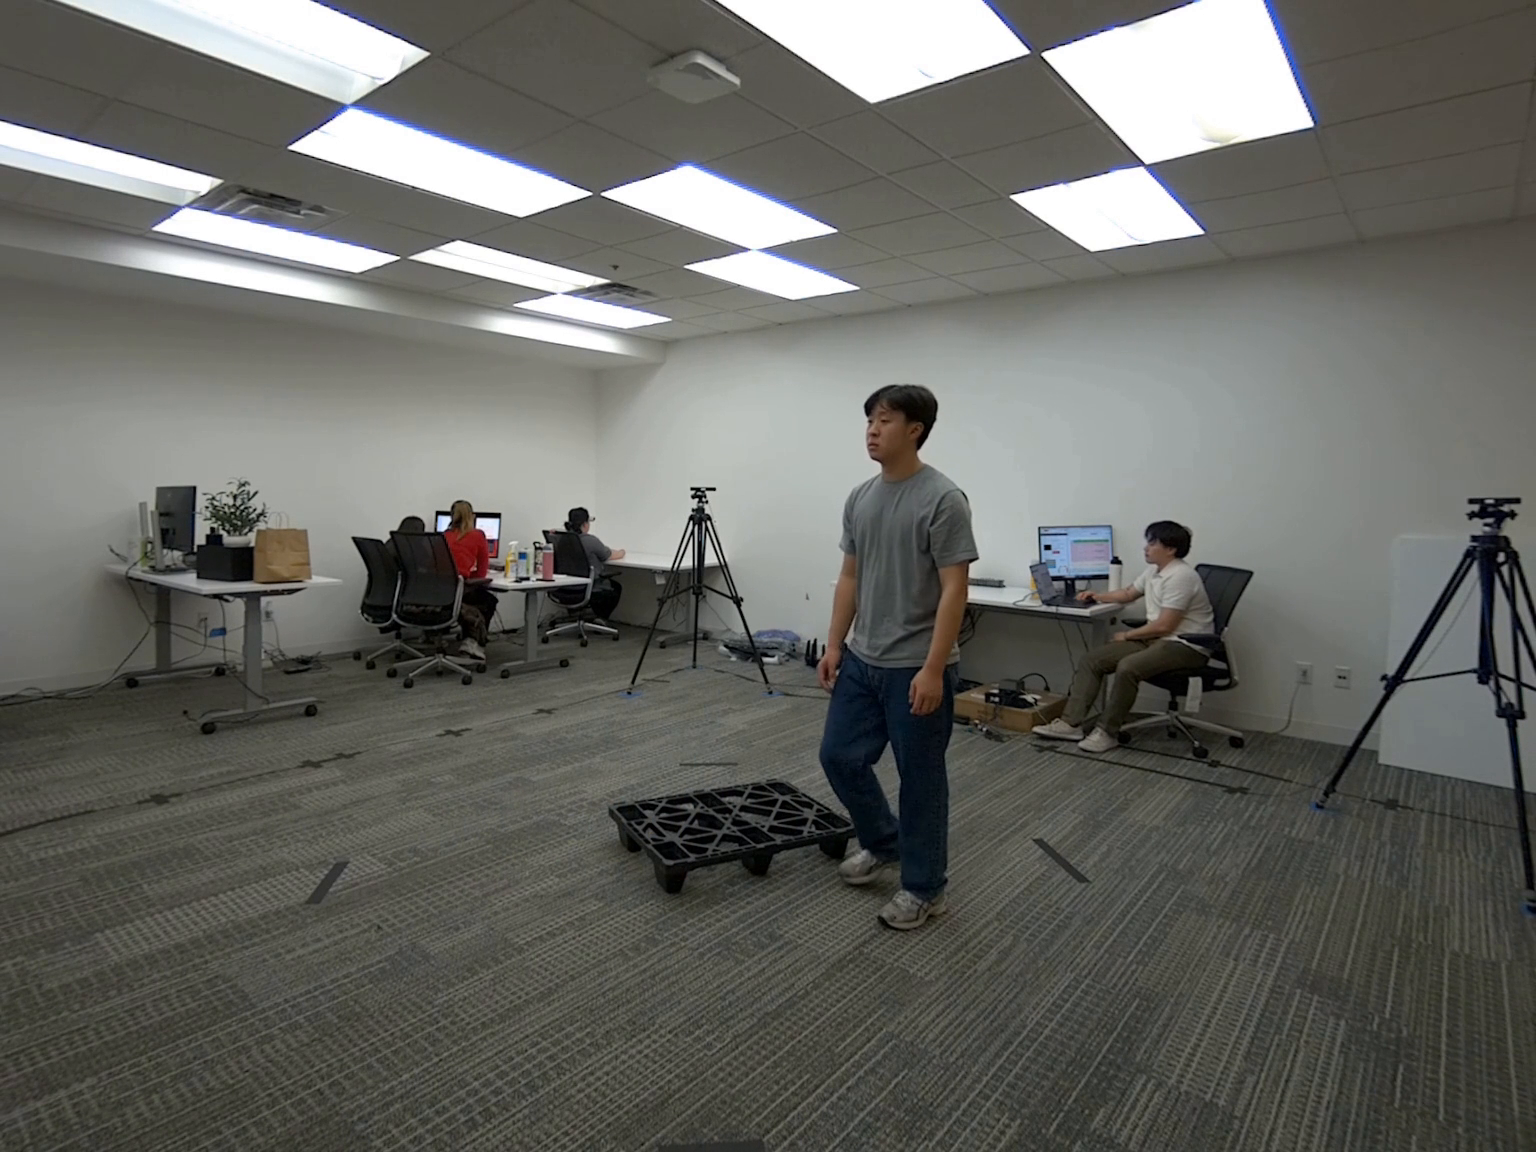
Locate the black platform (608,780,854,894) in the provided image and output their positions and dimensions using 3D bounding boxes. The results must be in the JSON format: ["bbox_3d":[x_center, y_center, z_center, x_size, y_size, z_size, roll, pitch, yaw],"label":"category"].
[{"bbox_3d":[-0.147,0.983,3.268,0.785,0.143,0.623,-2,7,-28],"label":"black platform"}]
